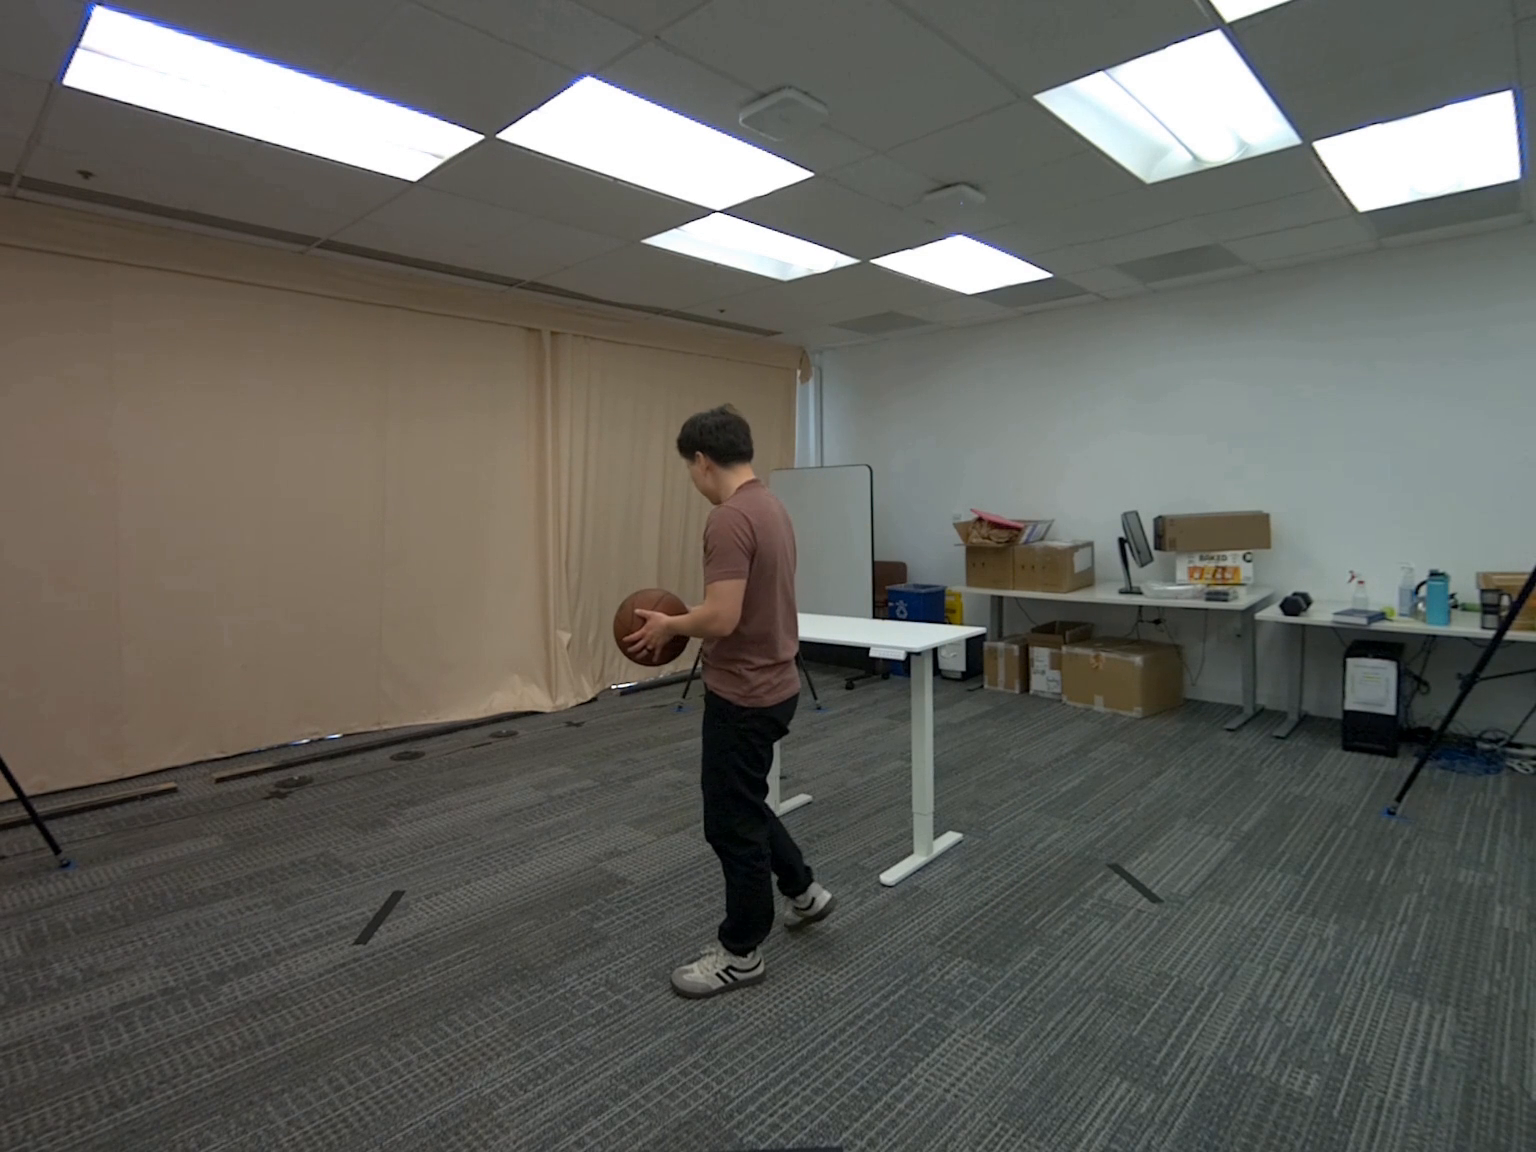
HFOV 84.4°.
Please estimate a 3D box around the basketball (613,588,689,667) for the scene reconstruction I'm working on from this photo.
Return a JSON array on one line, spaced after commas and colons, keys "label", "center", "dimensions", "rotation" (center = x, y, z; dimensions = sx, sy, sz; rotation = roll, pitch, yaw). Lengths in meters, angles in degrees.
[{"label": "basketball", "center": [-0.339, 0.156, 2.556], "dimensions": [0.236, 0.235, 0.237], "rotation": [-1, 4, -2]}]
